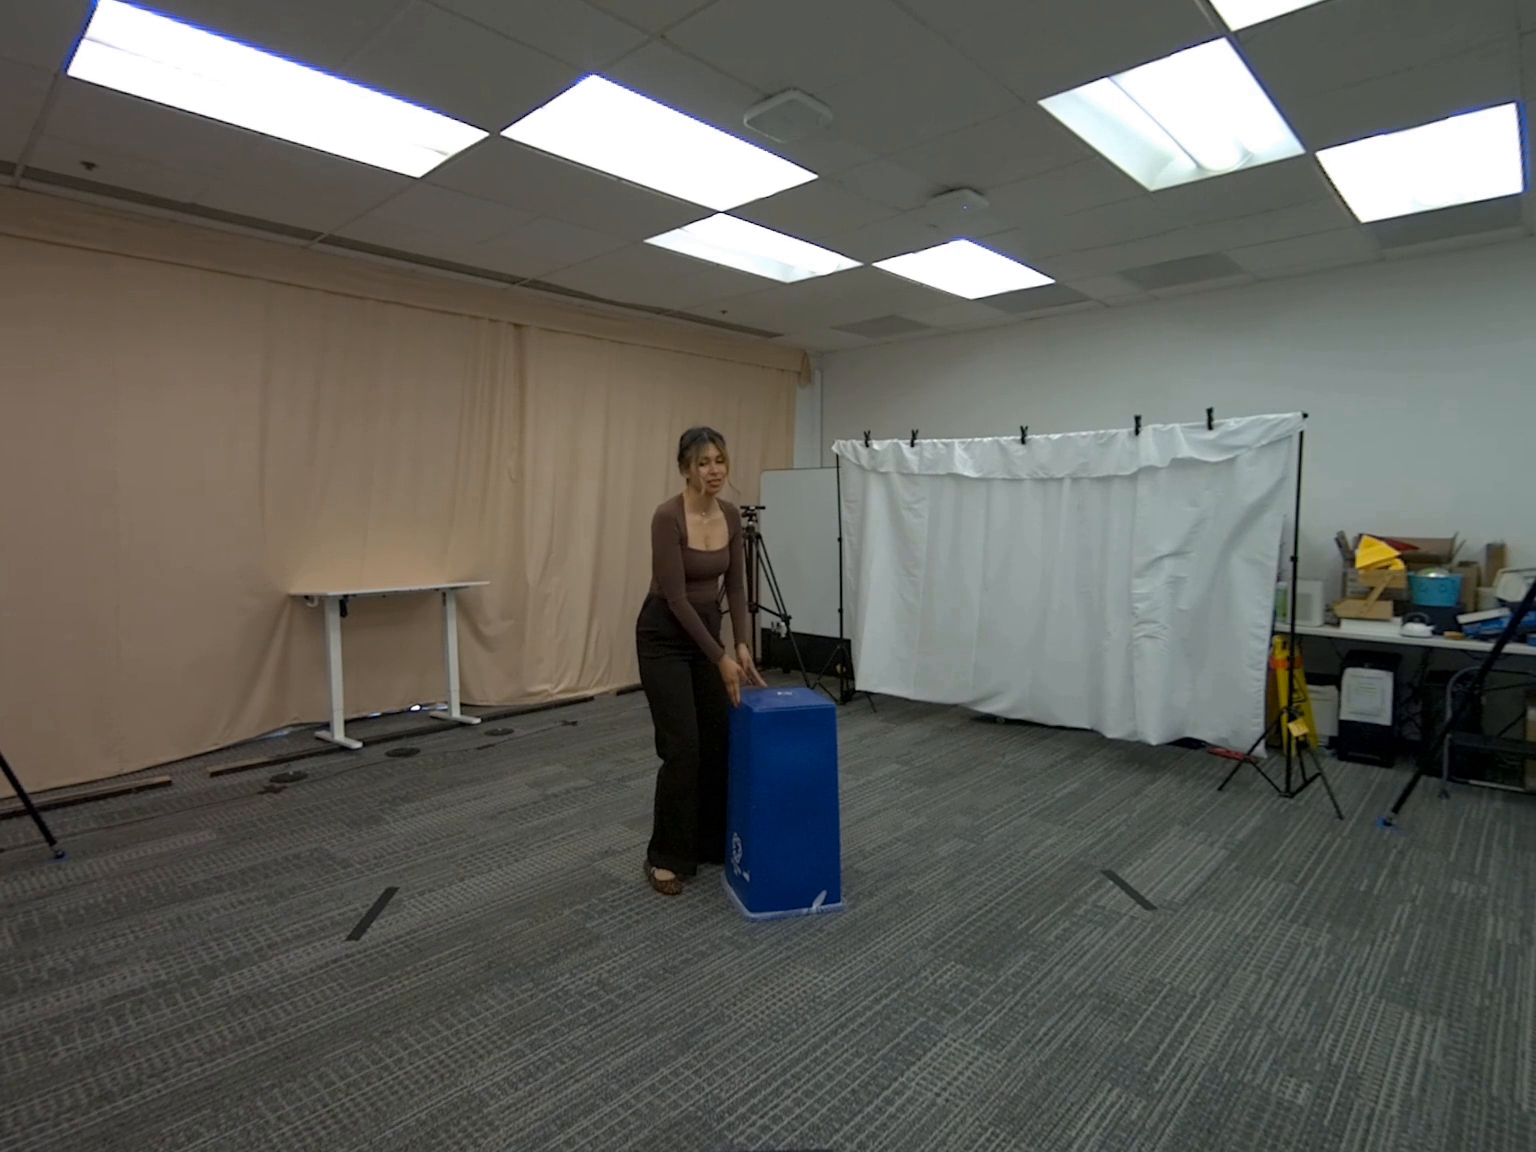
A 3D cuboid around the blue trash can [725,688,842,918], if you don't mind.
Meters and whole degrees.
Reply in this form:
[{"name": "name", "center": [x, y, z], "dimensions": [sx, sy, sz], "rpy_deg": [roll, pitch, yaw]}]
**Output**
[{"name": "blue trash can", "center": [0.052, 0.788, 3.018], "dimensions": [0.371, 0.713, 0.381], "rpy_deg": [-1, 2, -17]}]
